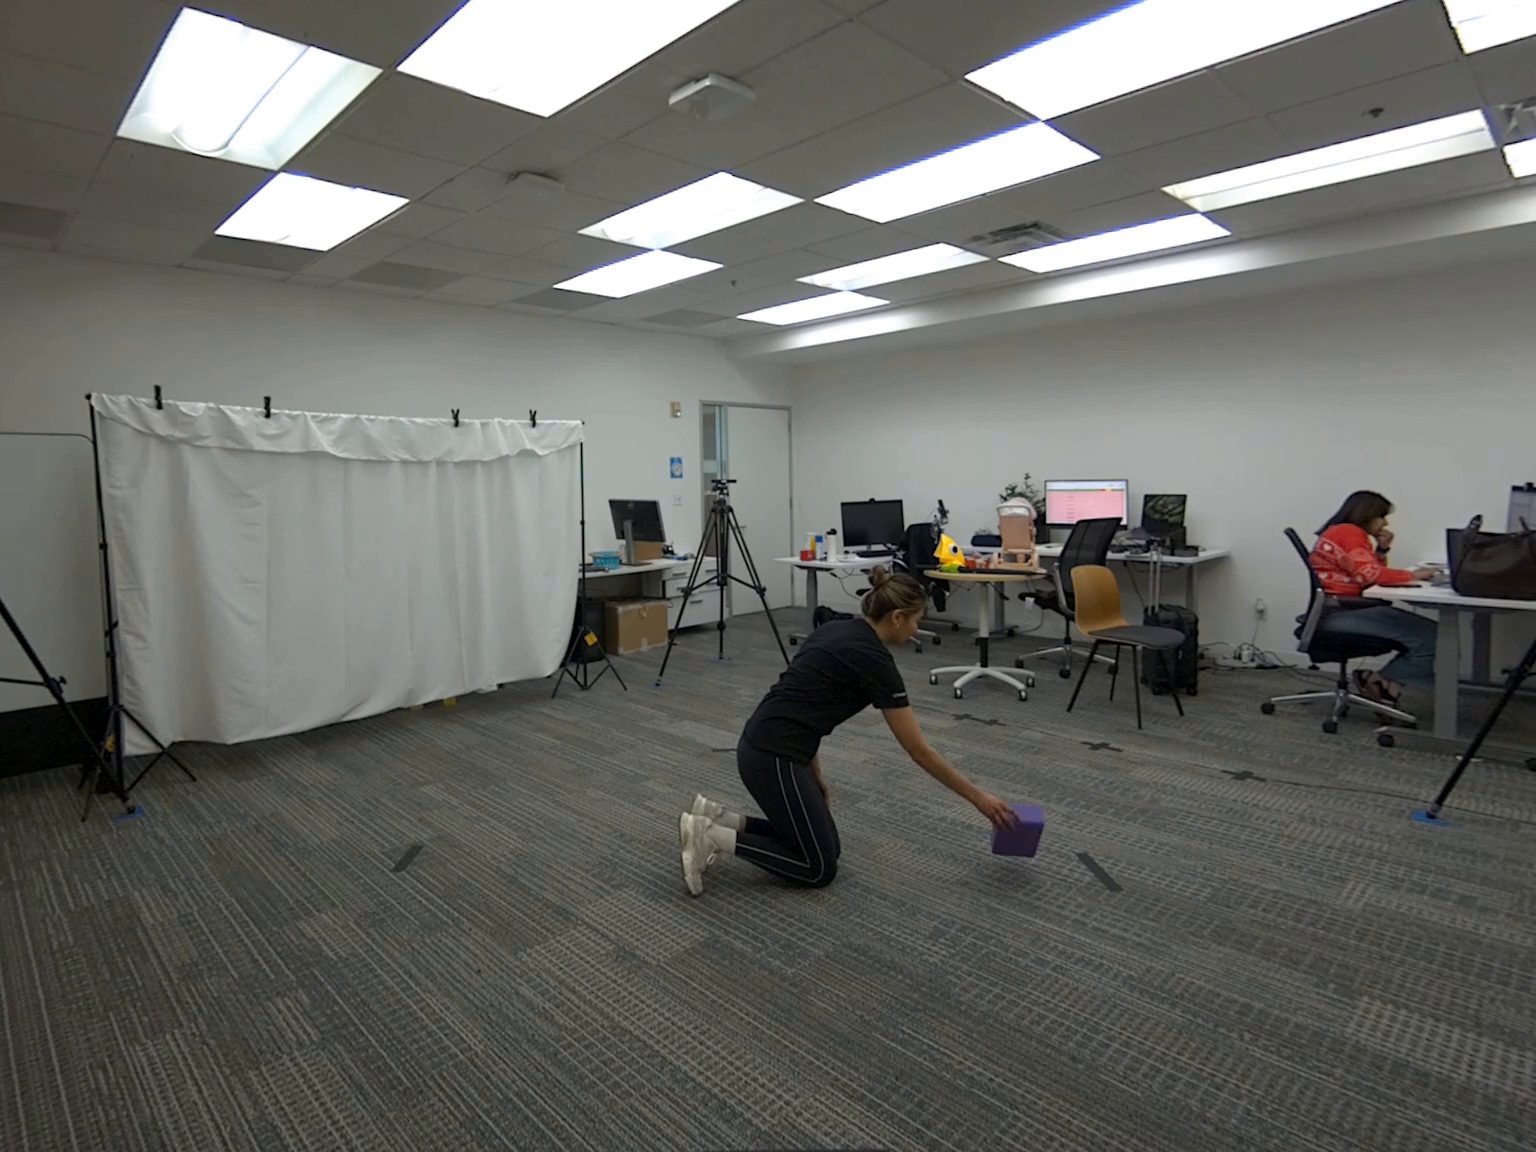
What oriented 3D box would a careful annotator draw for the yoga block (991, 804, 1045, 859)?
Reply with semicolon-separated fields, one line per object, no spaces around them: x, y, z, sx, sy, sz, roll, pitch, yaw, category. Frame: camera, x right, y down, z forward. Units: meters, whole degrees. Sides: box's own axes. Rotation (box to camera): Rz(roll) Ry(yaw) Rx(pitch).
0.855;0.886;2.960;0.151;0.223;0.078;5;41;10;yoga block
